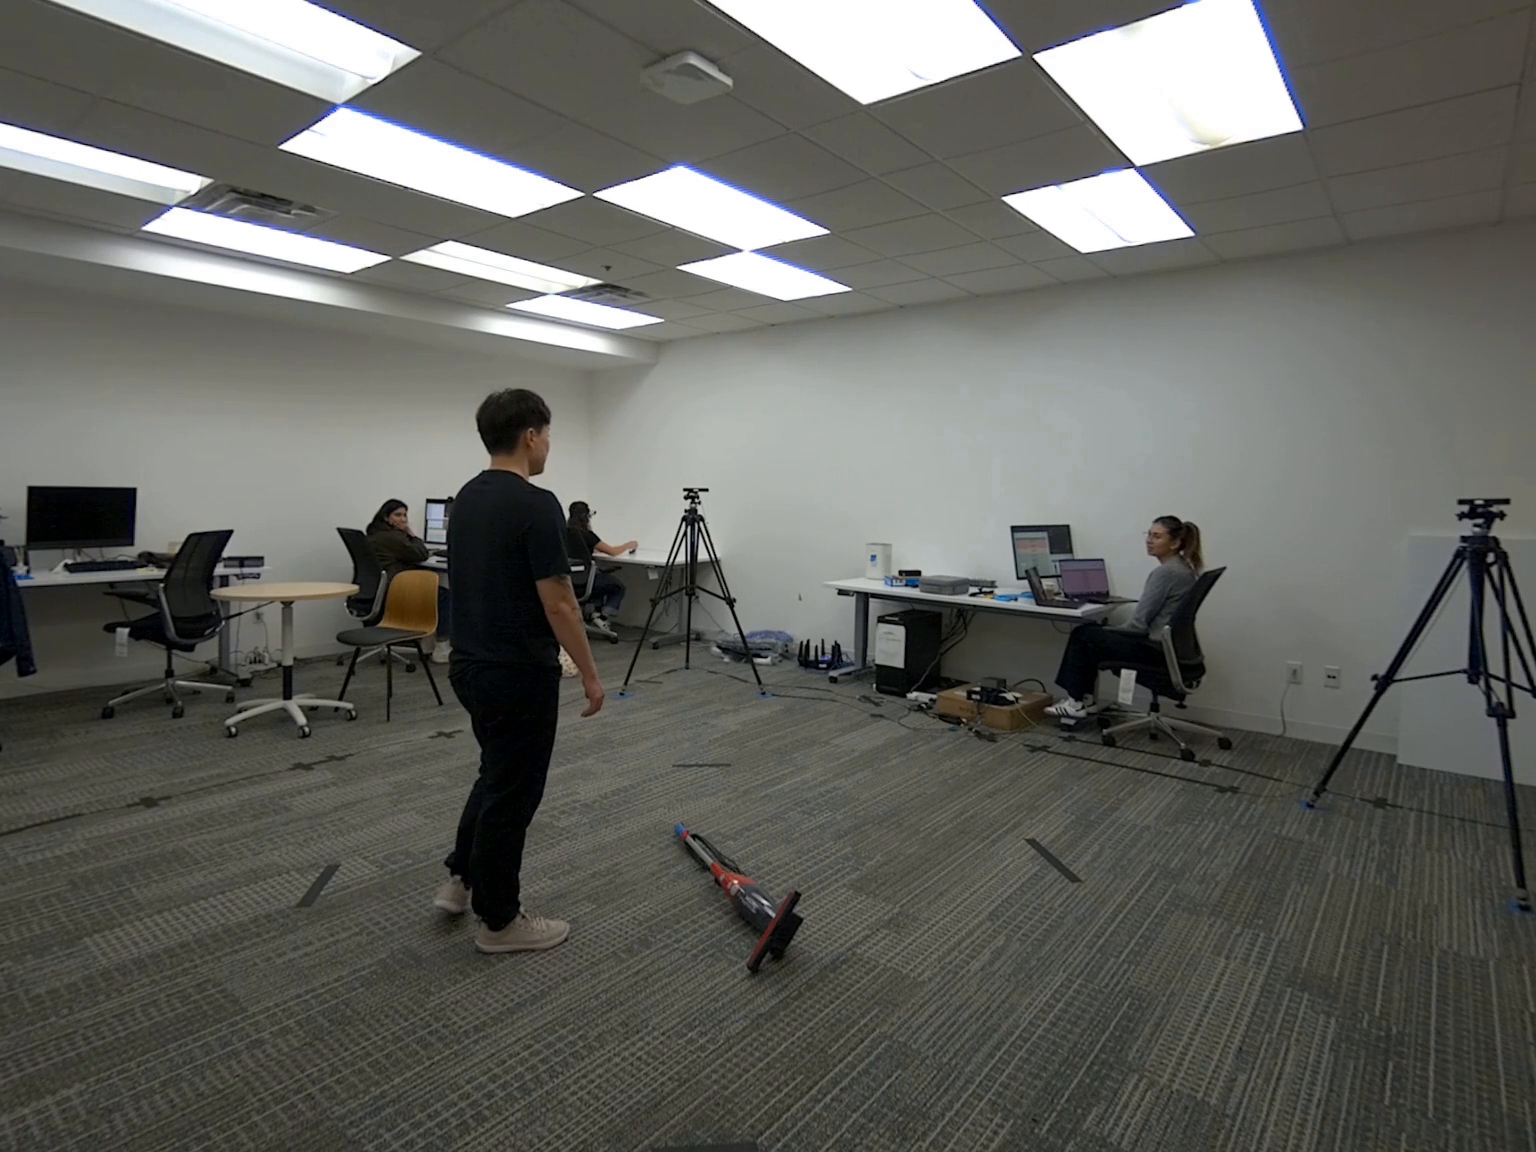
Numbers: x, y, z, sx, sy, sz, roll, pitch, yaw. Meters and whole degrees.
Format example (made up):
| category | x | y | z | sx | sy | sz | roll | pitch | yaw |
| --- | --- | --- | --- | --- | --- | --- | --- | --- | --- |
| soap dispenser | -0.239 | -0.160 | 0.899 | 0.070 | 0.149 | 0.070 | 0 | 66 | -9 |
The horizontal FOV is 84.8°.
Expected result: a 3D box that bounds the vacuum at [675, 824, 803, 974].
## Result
| category | x | y | z | sx | sy | sz | roll | pitch | yaw |
| --- | --- | --- | --- | --- | --- | --- | --- | --- | --- |
| vacuum | -0.170 | 1.030 | 2.984 | 0.141 | 0.253 | 1.069 | 37 | -12 | -17 |
